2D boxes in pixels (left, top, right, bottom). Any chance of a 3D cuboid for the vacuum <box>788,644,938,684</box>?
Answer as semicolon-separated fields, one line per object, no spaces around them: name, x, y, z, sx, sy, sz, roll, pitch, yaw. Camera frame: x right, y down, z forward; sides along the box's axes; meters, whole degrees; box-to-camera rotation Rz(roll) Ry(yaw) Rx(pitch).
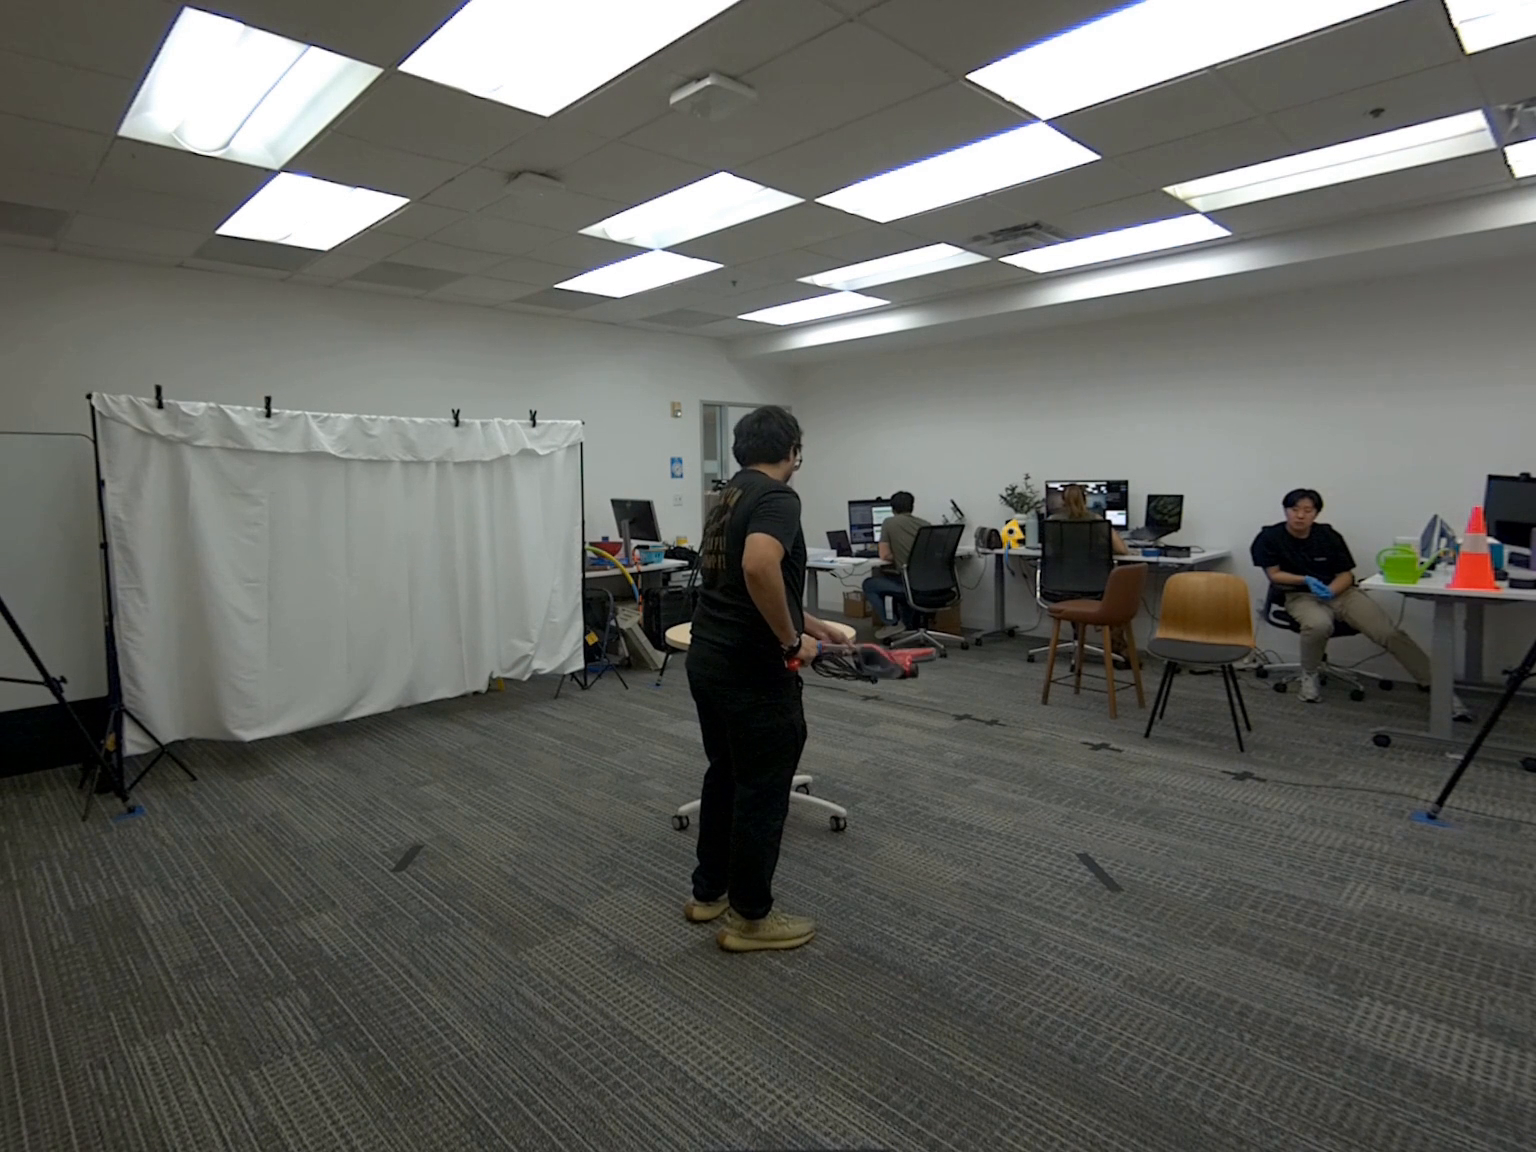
vacuum;0.289;0.290;2.778;0.258;0.145;1.020;-4;-7;26
